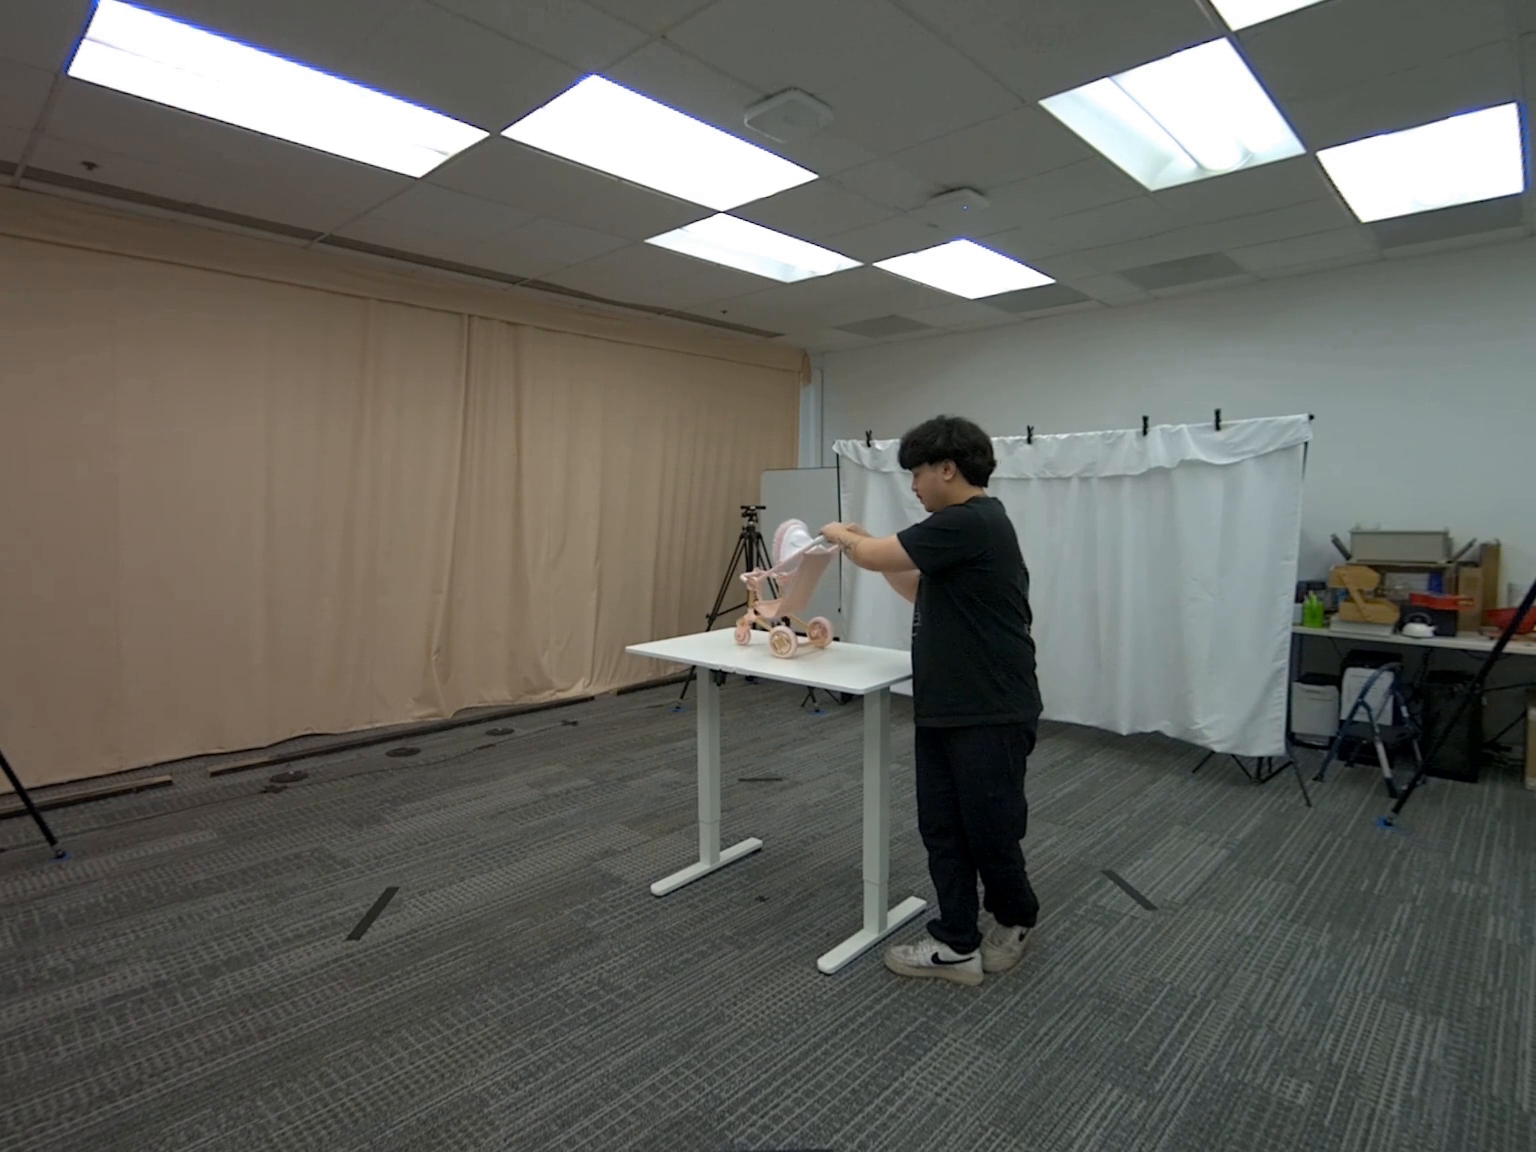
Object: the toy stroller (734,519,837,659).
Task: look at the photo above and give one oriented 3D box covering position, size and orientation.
[{"bbox_3d":[0.072,0.041,2.937,0.354,0.532,0.273,24,17,37],"label":"toy stroller"}]
